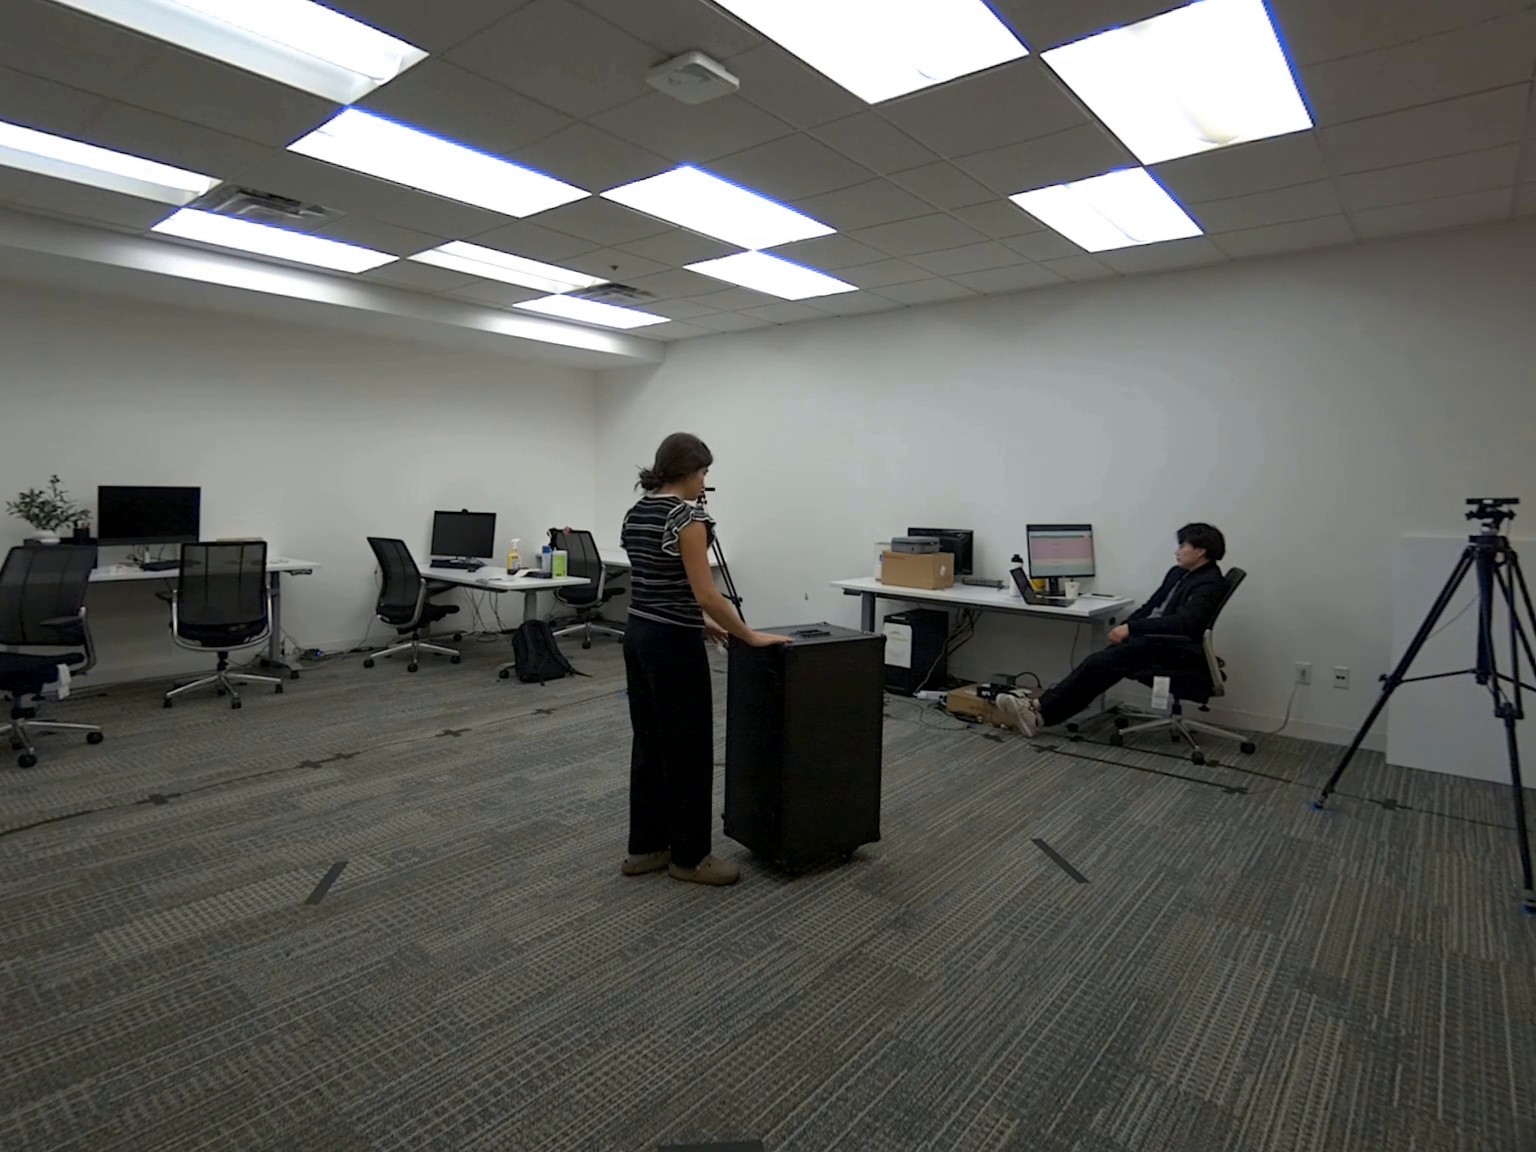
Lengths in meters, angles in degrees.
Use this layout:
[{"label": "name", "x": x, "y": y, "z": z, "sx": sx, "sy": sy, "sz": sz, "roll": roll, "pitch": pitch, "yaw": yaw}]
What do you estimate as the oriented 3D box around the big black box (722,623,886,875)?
[{"label": "big black box", "x": 0.123, "y": 0.640, "z": 3.226, "sx": 0.506, "sy": 0.859, "sz": 0.409, "roll": -2, "pitch": 4, "yaw": -35}]
